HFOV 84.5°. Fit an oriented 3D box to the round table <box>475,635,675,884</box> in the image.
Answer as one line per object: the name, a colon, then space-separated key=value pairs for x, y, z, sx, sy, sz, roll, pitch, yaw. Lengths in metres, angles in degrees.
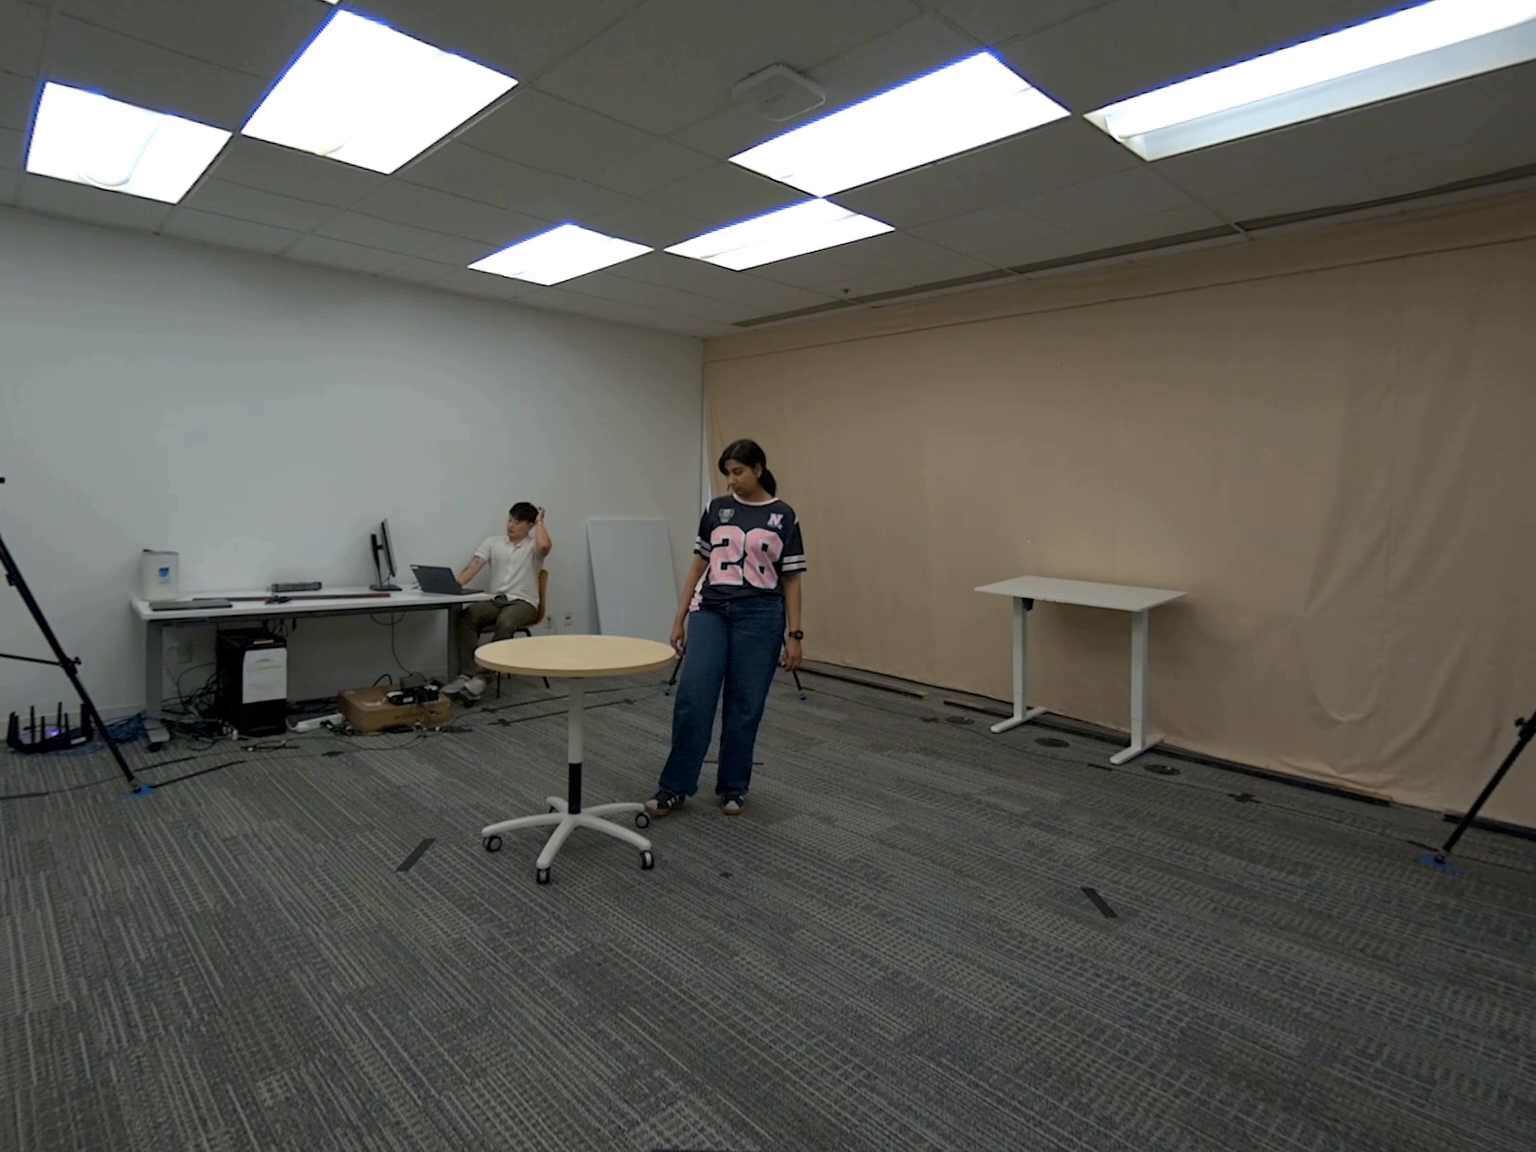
round table: x=-0.757 y=0.685 z=3.295 sx=0.763 sy=0.792 sz=0.766 roll=1 pitch=4 yaw=-1
